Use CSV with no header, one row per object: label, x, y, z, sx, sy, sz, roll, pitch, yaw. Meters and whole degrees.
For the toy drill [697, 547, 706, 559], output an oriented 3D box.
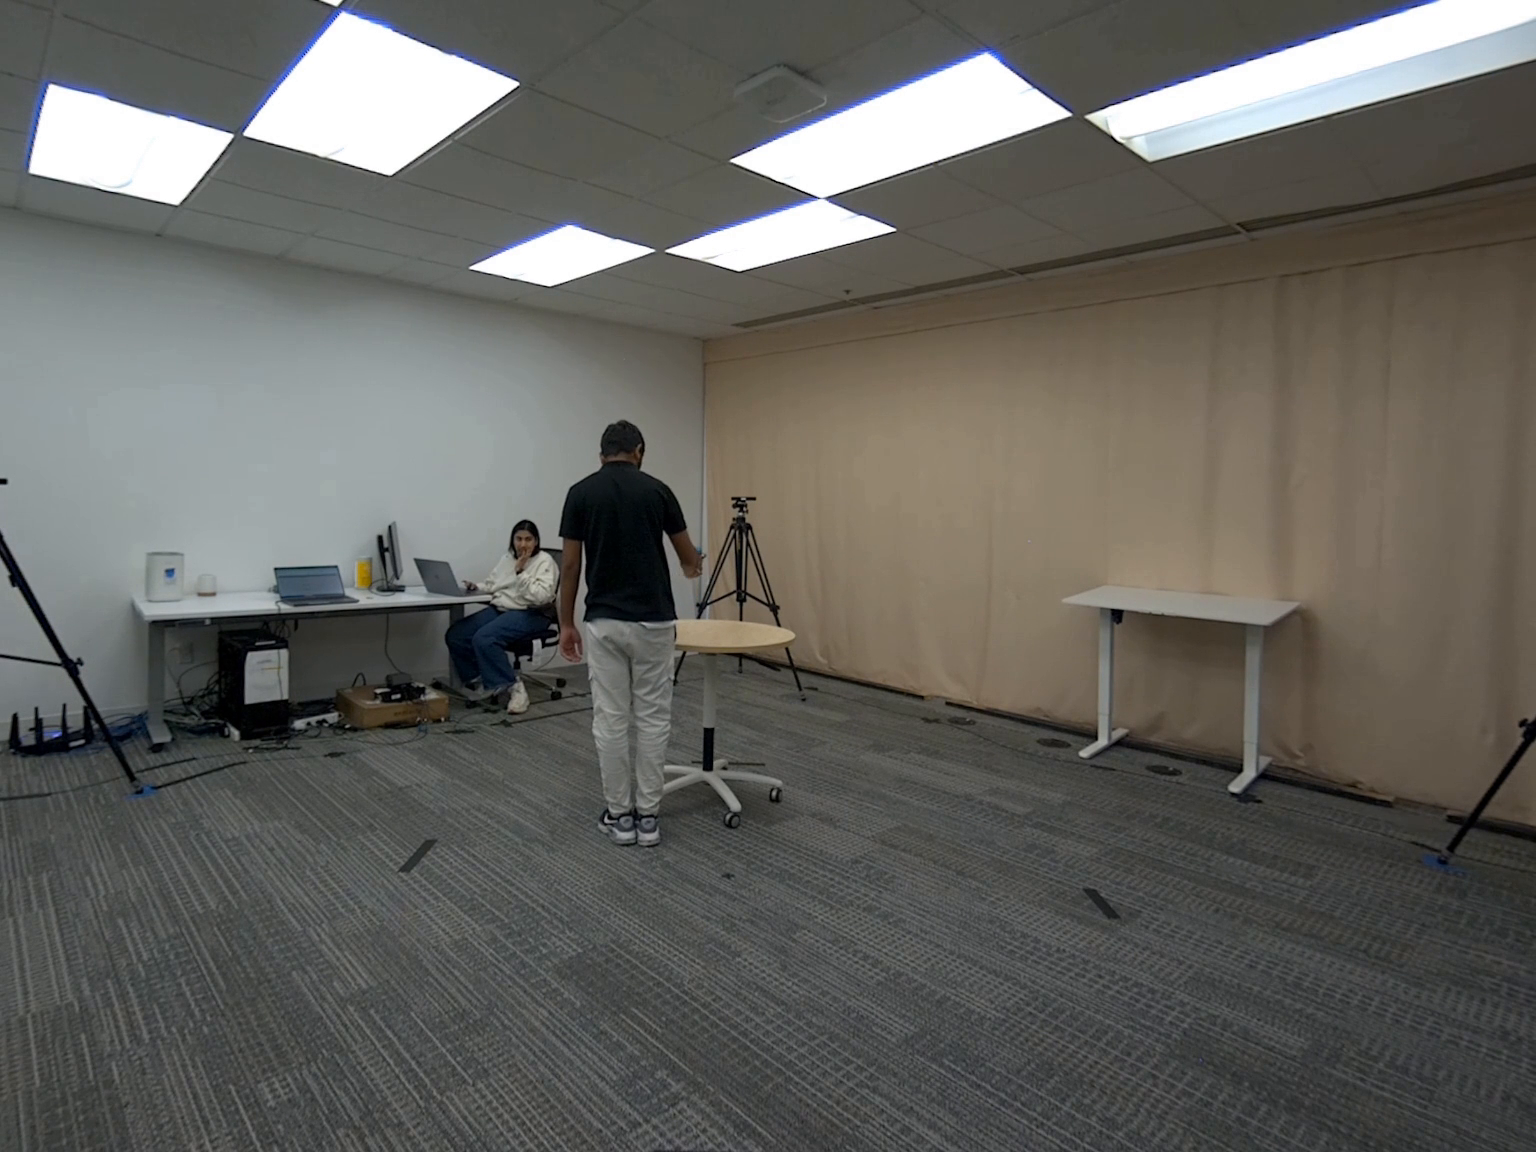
toy drill,-0.360,-0.072,3.921,0.060,0.146,0.171,26,-10,-12
